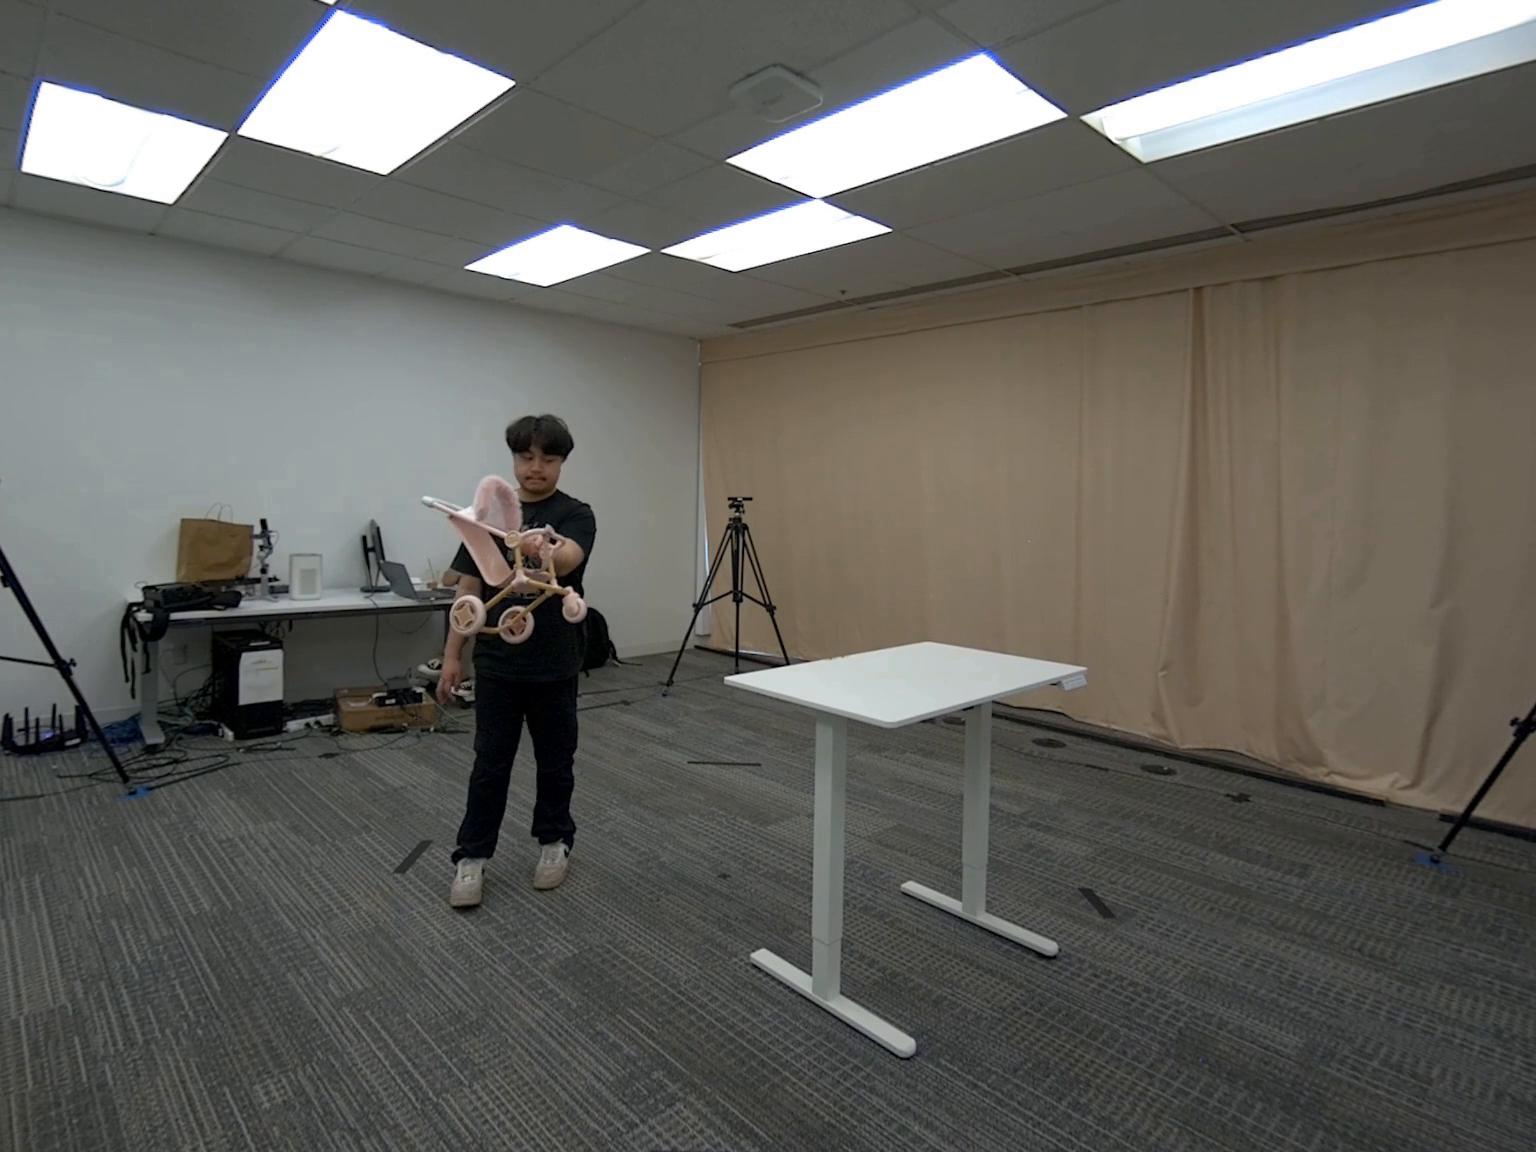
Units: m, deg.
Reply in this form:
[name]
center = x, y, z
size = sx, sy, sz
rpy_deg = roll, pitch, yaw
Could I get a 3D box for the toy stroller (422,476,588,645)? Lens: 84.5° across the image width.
[toy stroller]
center = -0.739, -0.056, 2.385
size = 0.343, 0.544, 0.275
rpy_deg = -28, -17, 14
